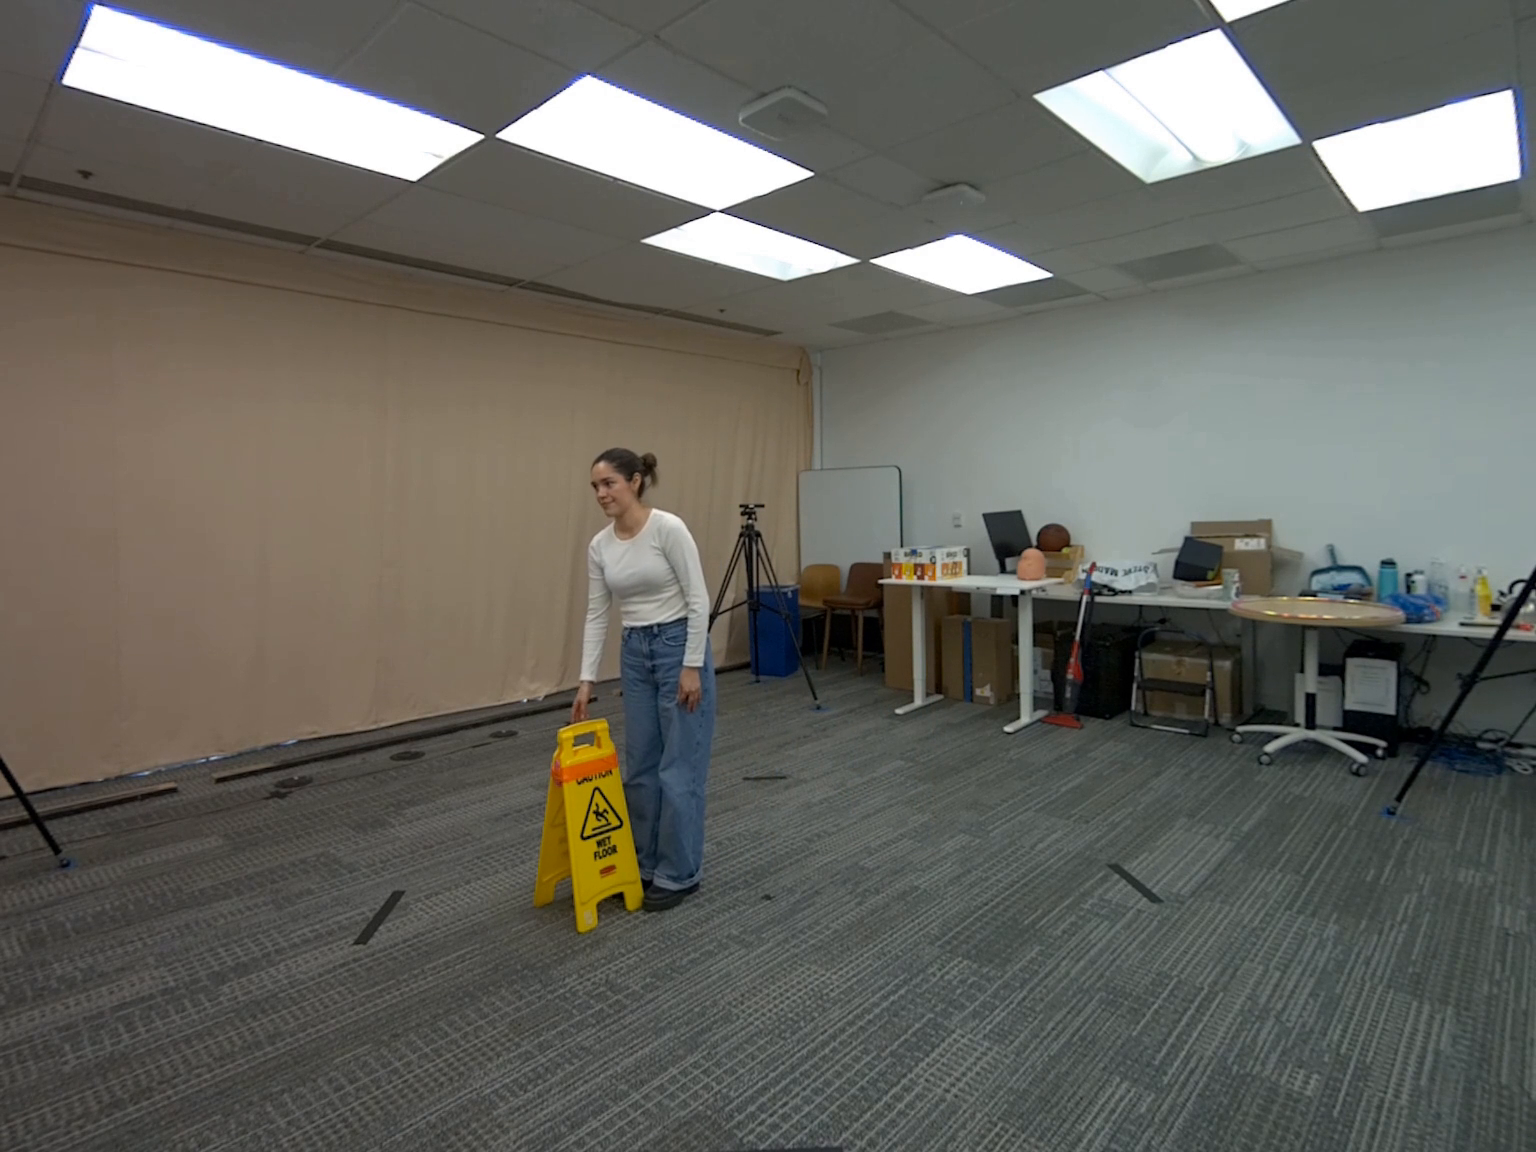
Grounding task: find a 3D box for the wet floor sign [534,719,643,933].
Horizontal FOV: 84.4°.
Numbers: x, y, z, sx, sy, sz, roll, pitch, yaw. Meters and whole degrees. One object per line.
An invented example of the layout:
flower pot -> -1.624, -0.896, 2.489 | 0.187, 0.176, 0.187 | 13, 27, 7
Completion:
wet floor sign -> -0.632, 0.837, 2.928 | 0.299, 0.644, 0.274 | 2, 5, 44
